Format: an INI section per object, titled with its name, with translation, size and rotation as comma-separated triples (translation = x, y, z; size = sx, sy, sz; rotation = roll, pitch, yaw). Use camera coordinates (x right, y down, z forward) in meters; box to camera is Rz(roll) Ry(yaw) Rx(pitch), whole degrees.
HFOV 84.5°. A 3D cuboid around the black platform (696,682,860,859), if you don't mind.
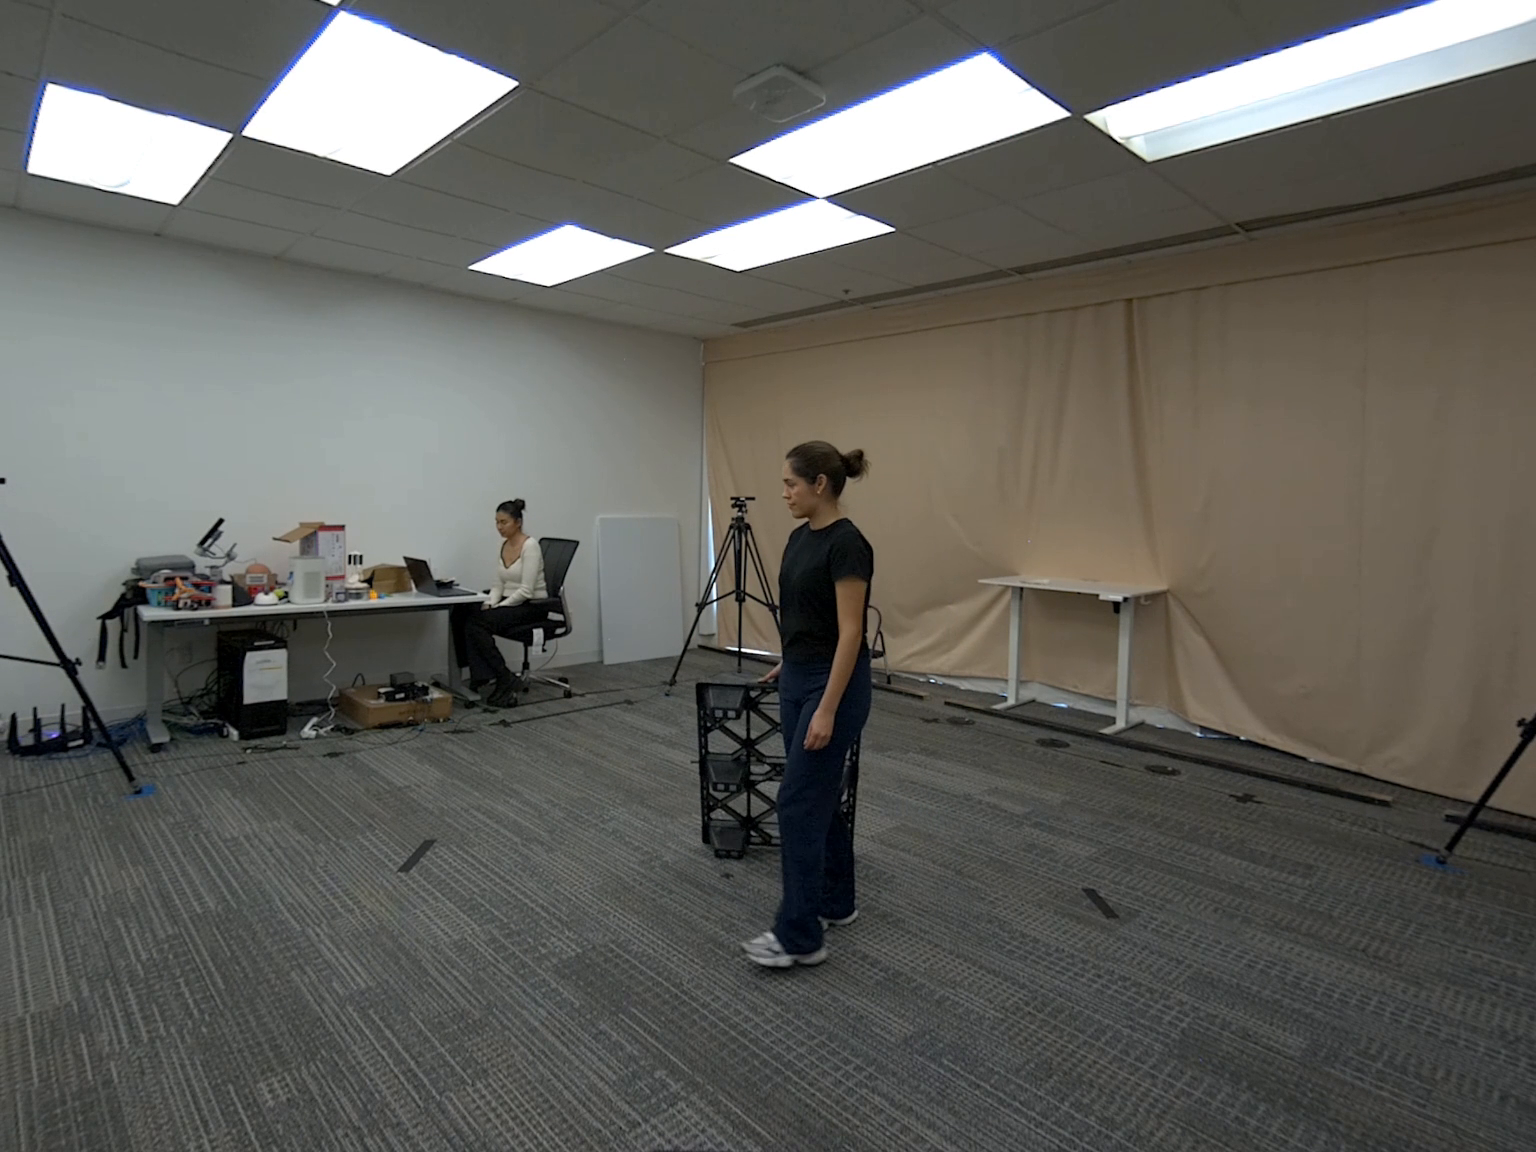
[black platform]
translation = 0.028, 0.746, 3.120
size = 0.606, 0.791, 0.145
rotation = 1, 27, 3
